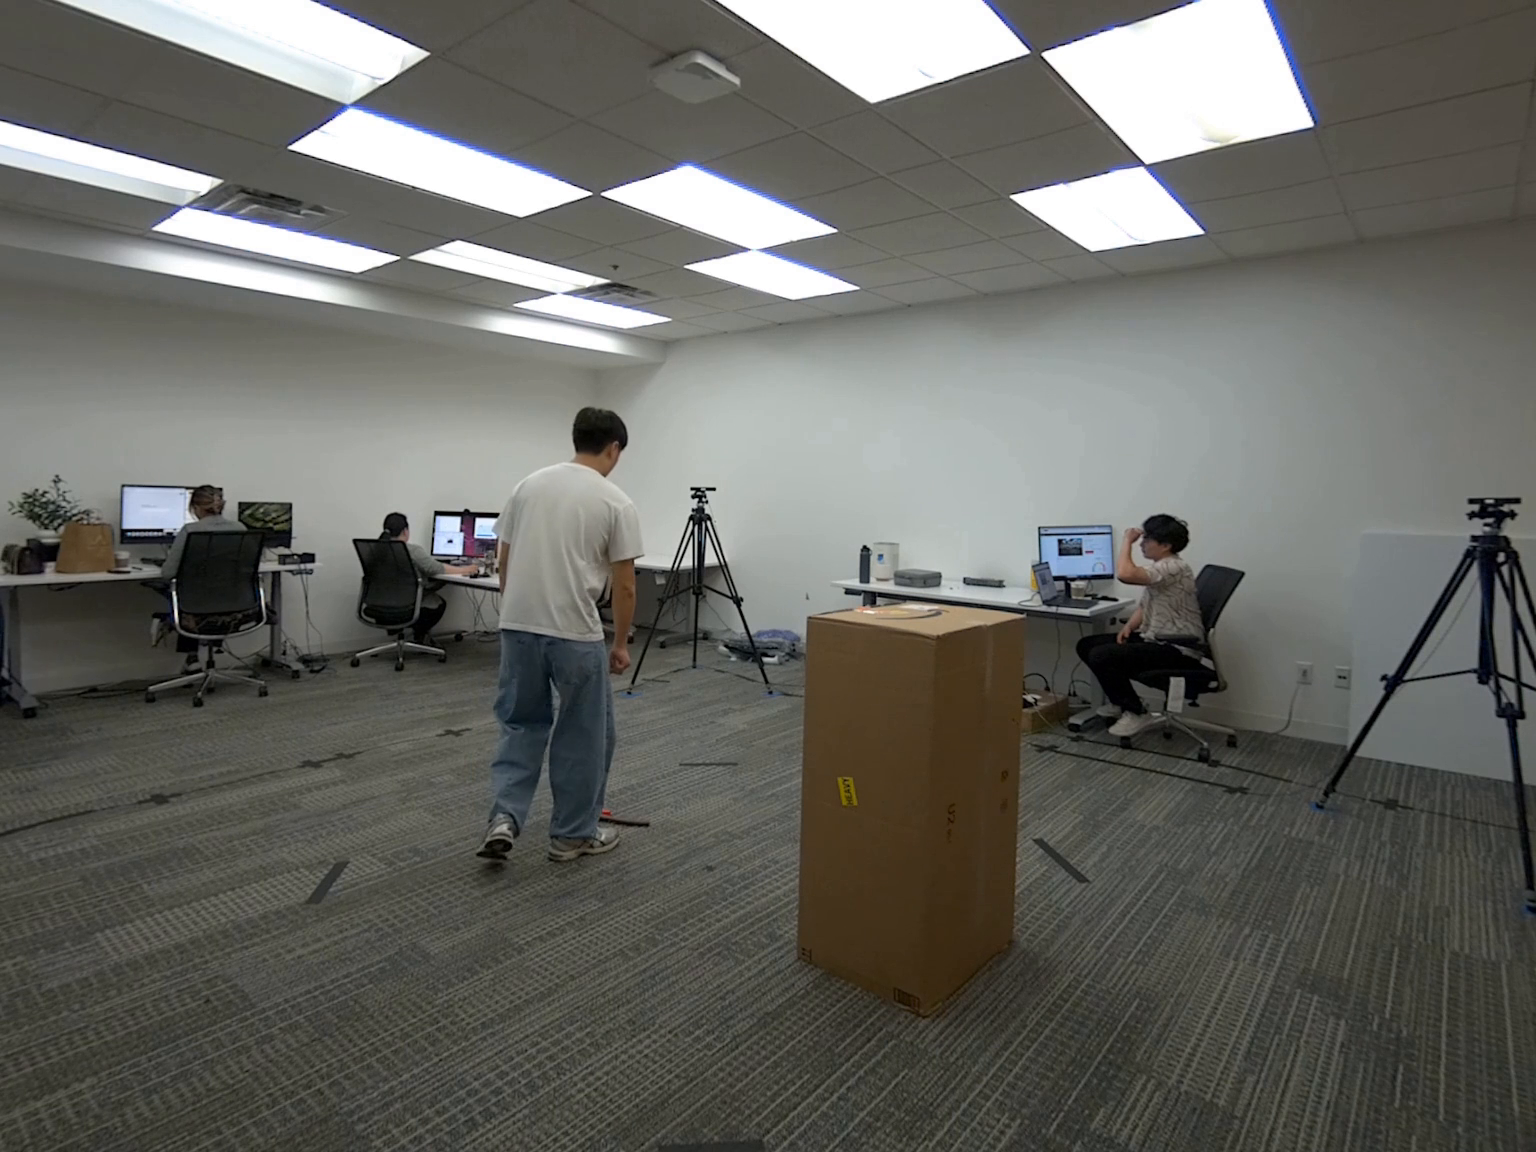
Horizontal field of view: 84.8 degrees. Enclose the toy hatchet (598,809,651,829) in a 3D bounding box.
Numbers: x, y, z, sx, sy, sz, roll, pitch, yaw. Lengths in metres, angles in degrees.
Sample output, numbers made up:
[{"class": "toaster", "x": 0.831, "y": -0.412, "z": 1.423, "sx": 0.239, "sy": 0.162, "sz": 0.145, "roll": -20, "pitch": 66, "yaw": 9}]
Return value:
[{"class": "toy hatchet", "x": -0.632, "y": 1.004, "z": 3.551, "sx": 0.271, "sy": 0.029, "sz": 0.131, "roll": 3, "pitch": 5, "yaw": 3}]
